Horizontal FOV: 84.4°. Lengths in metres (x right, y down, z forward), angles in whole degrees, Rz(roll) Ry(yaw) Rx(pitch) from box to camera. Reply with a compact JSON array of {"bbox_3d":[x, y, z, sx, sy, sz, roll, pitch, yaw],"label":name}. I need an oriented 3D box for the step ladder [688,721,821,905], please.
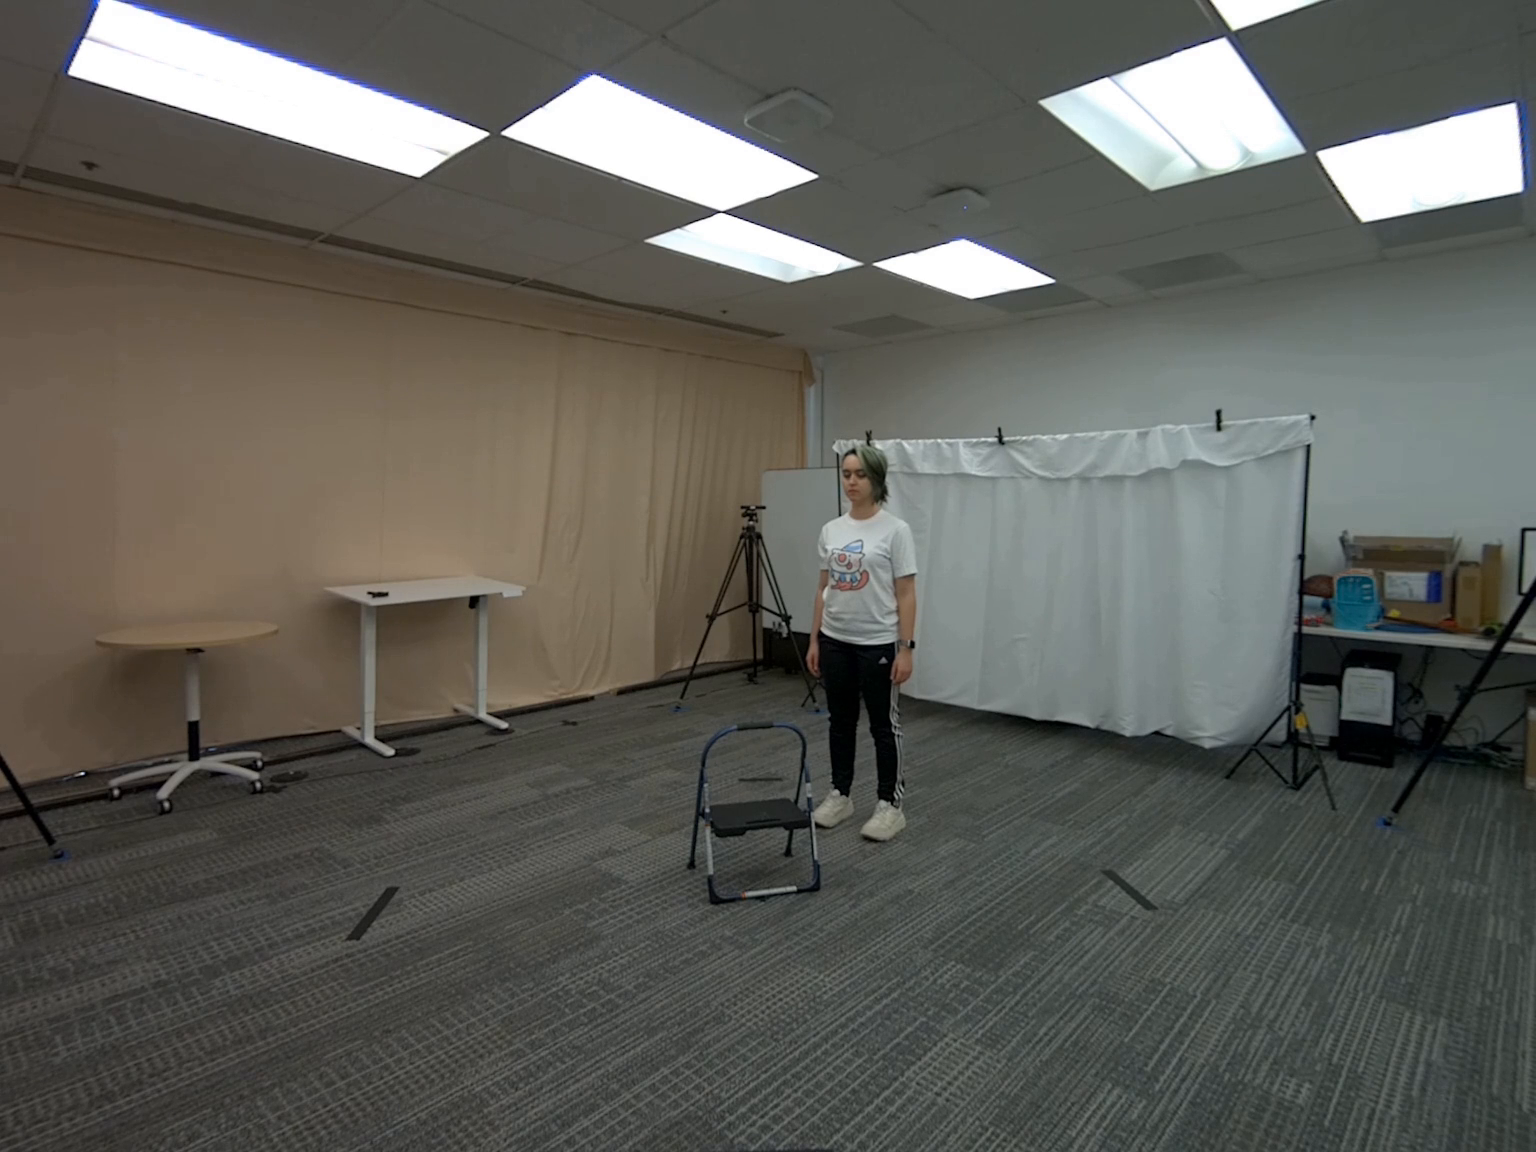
[{"bbox_3d":[-0.057,0.830,3.135,0.423,0.605,0.356,-2,4,-17],"label":"step ladder"}]
